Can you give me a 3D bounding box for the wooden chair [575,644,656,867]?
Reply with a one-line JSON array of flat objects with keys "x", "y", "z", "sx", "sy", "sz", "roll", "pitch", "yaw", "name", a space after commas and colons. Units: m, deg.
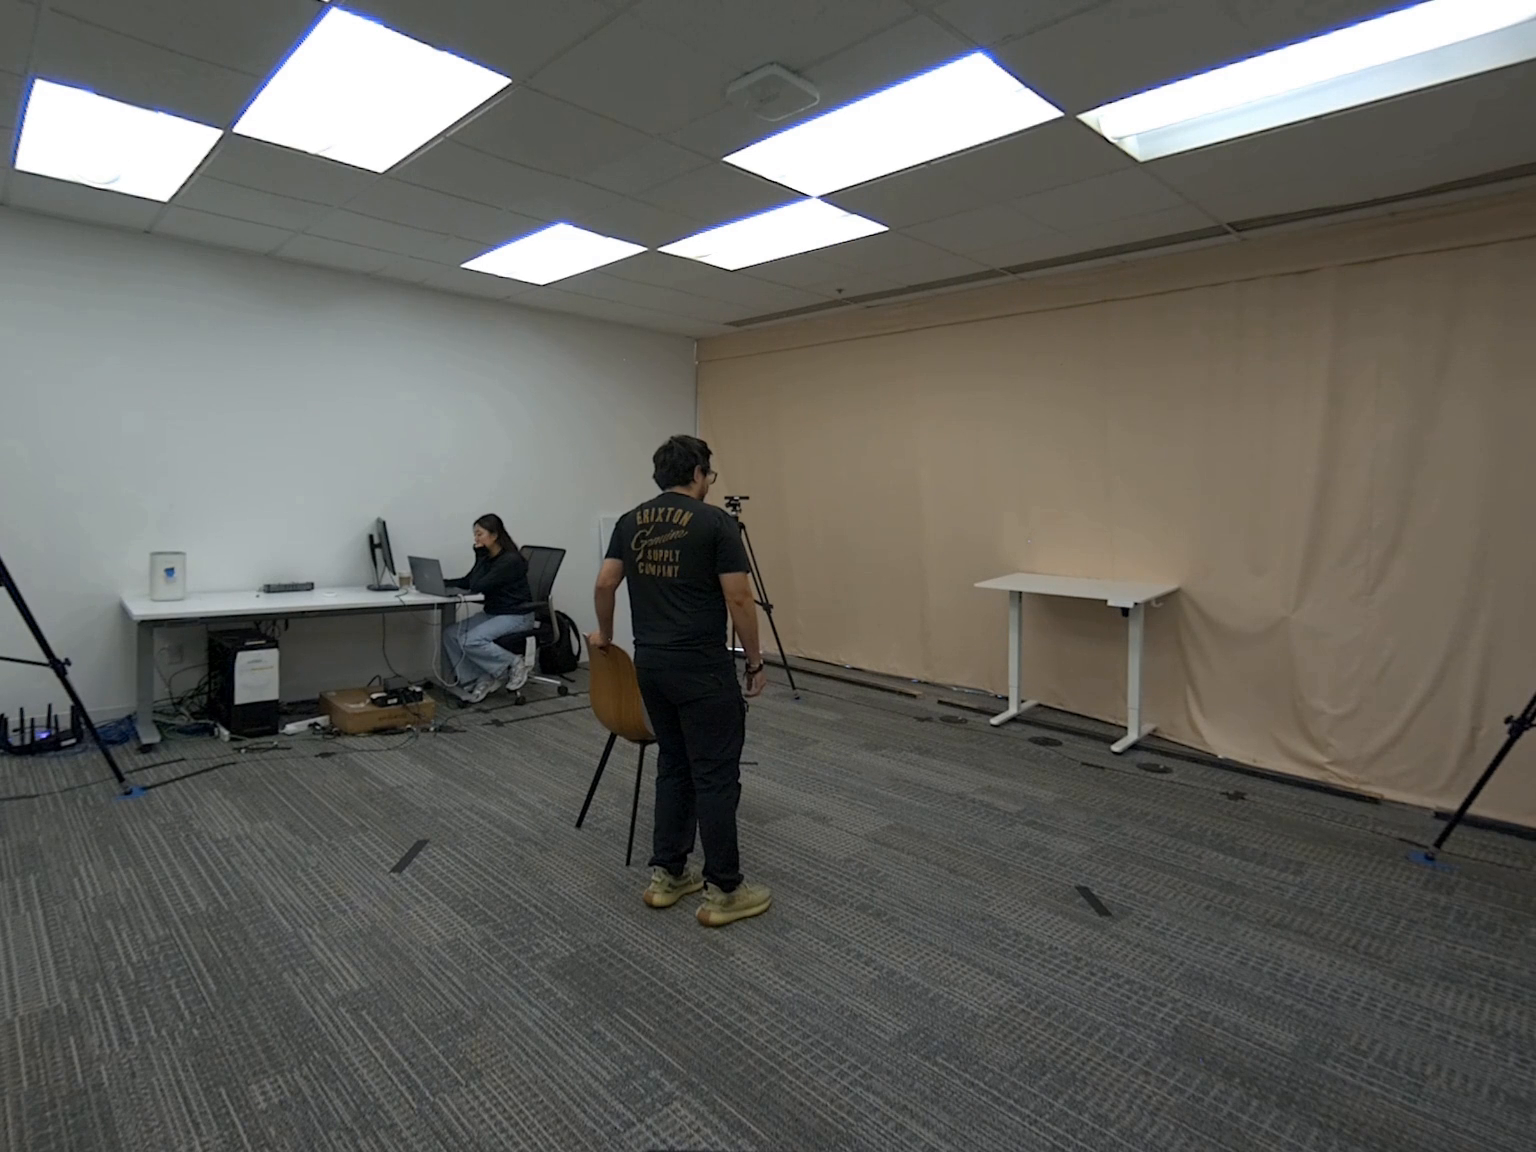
[{"x": -0.478, "y": 0.640, "z": 3.447, "sx": 0.512, "sy": 0.873, "sz": 0.490, "roll": -6, "pitch": 8, "yaw": -37, "name": "wooden chair"}]
